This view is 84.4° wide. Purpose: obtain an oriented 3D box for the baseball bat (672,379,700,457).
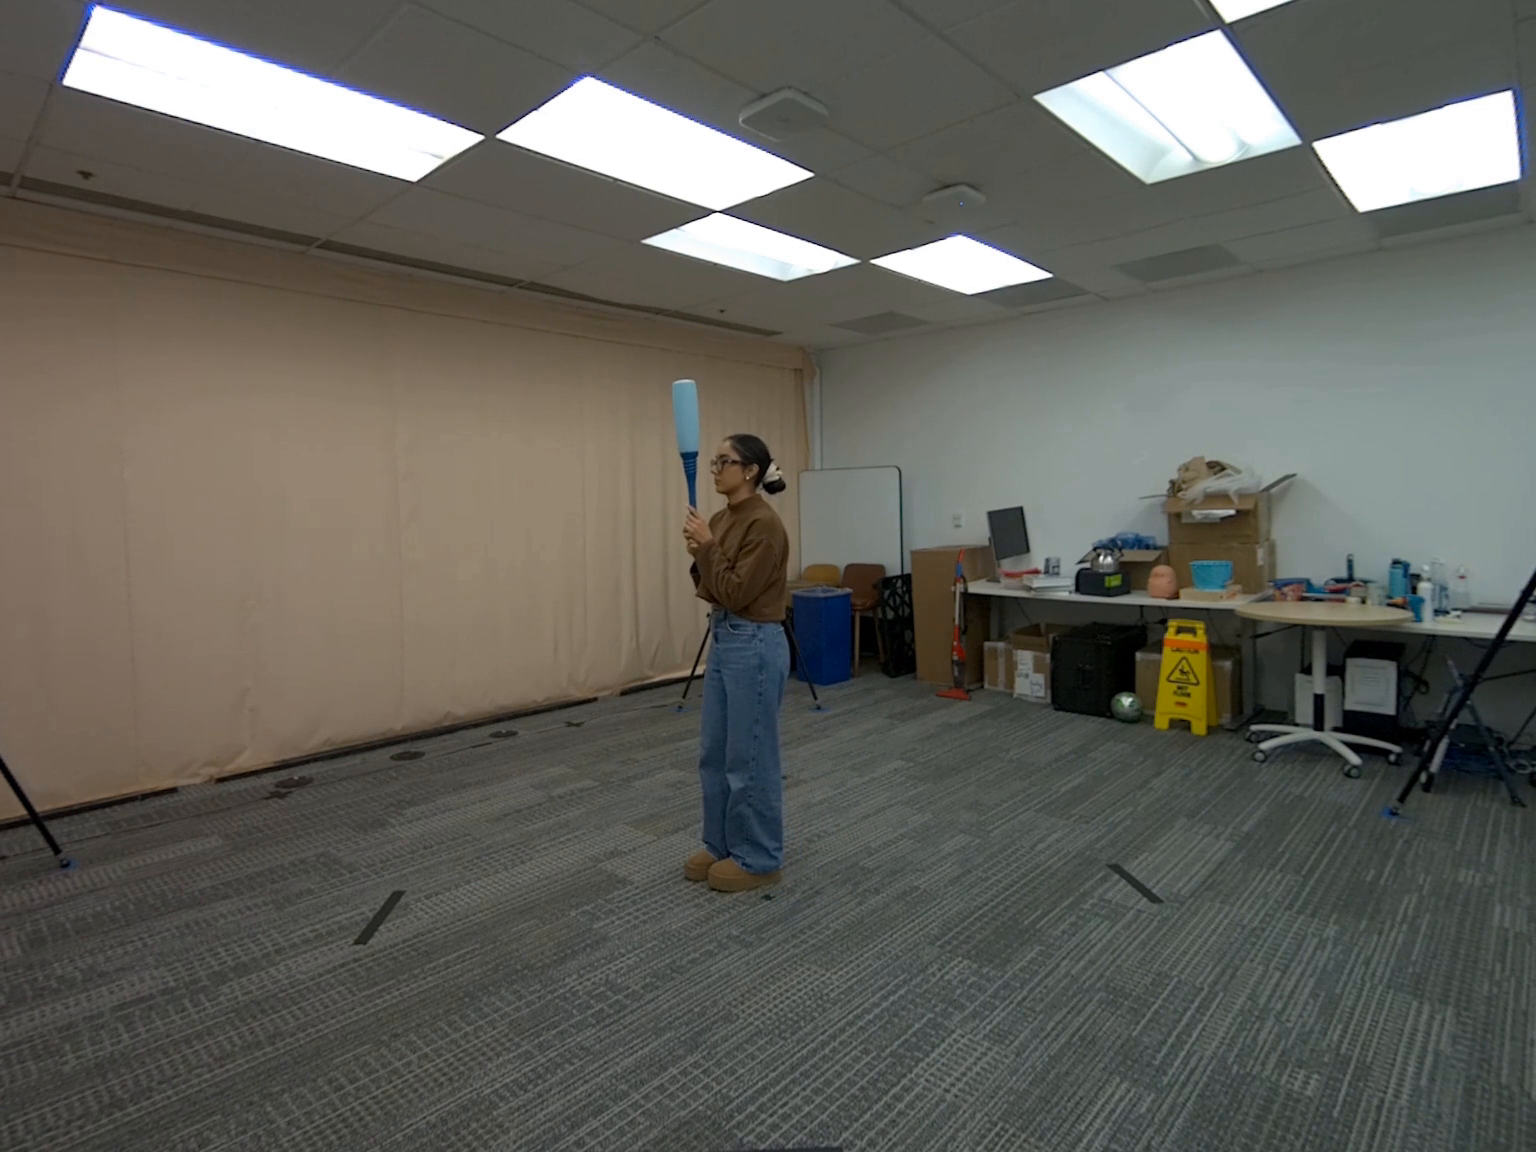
[{"bbox_3d":[-0.275,-0.421,2.985,0.089,0.540,0.089,-5,7,-1],"label":"baseball bat"}]
